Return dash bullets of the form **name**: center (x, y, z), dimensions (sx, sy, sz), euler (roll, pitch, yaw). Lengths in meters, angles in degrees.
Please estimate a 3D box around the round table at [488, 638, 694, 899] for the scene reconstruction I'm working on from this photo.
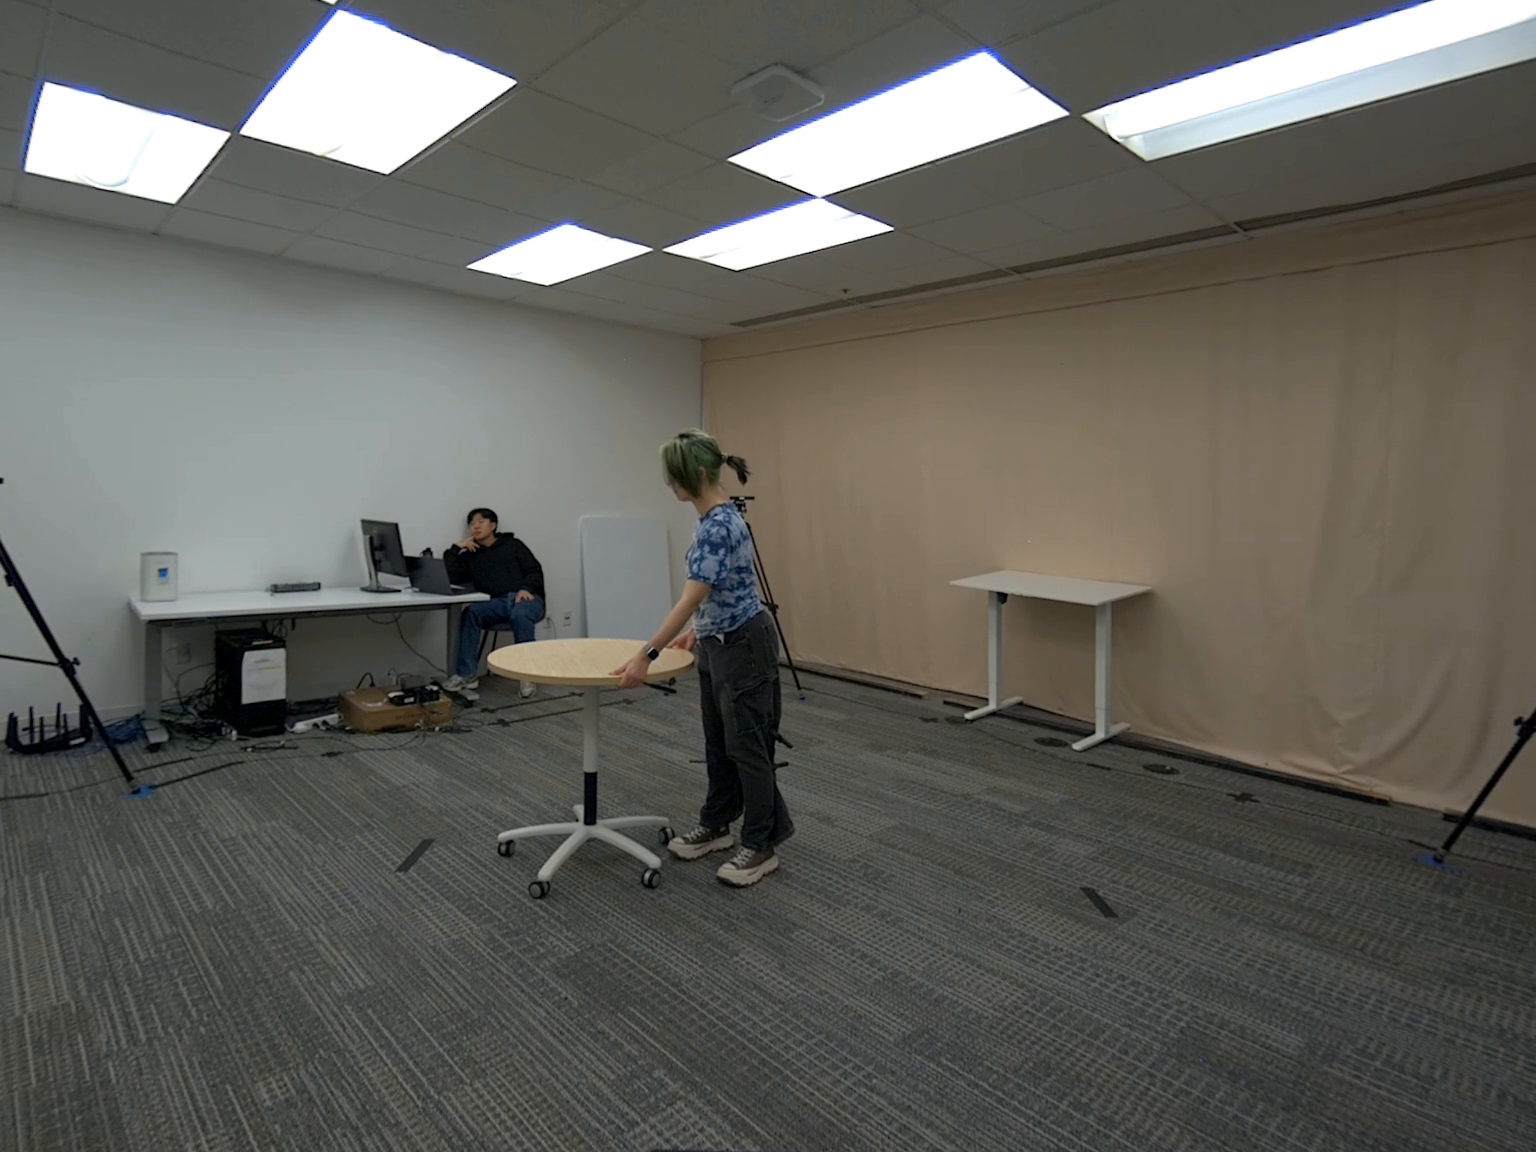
- **round table**: center (-0.674, 0.693, 3.184), dimensions (0.763, 0.792, 0.767), euler (1, 4, -1)
